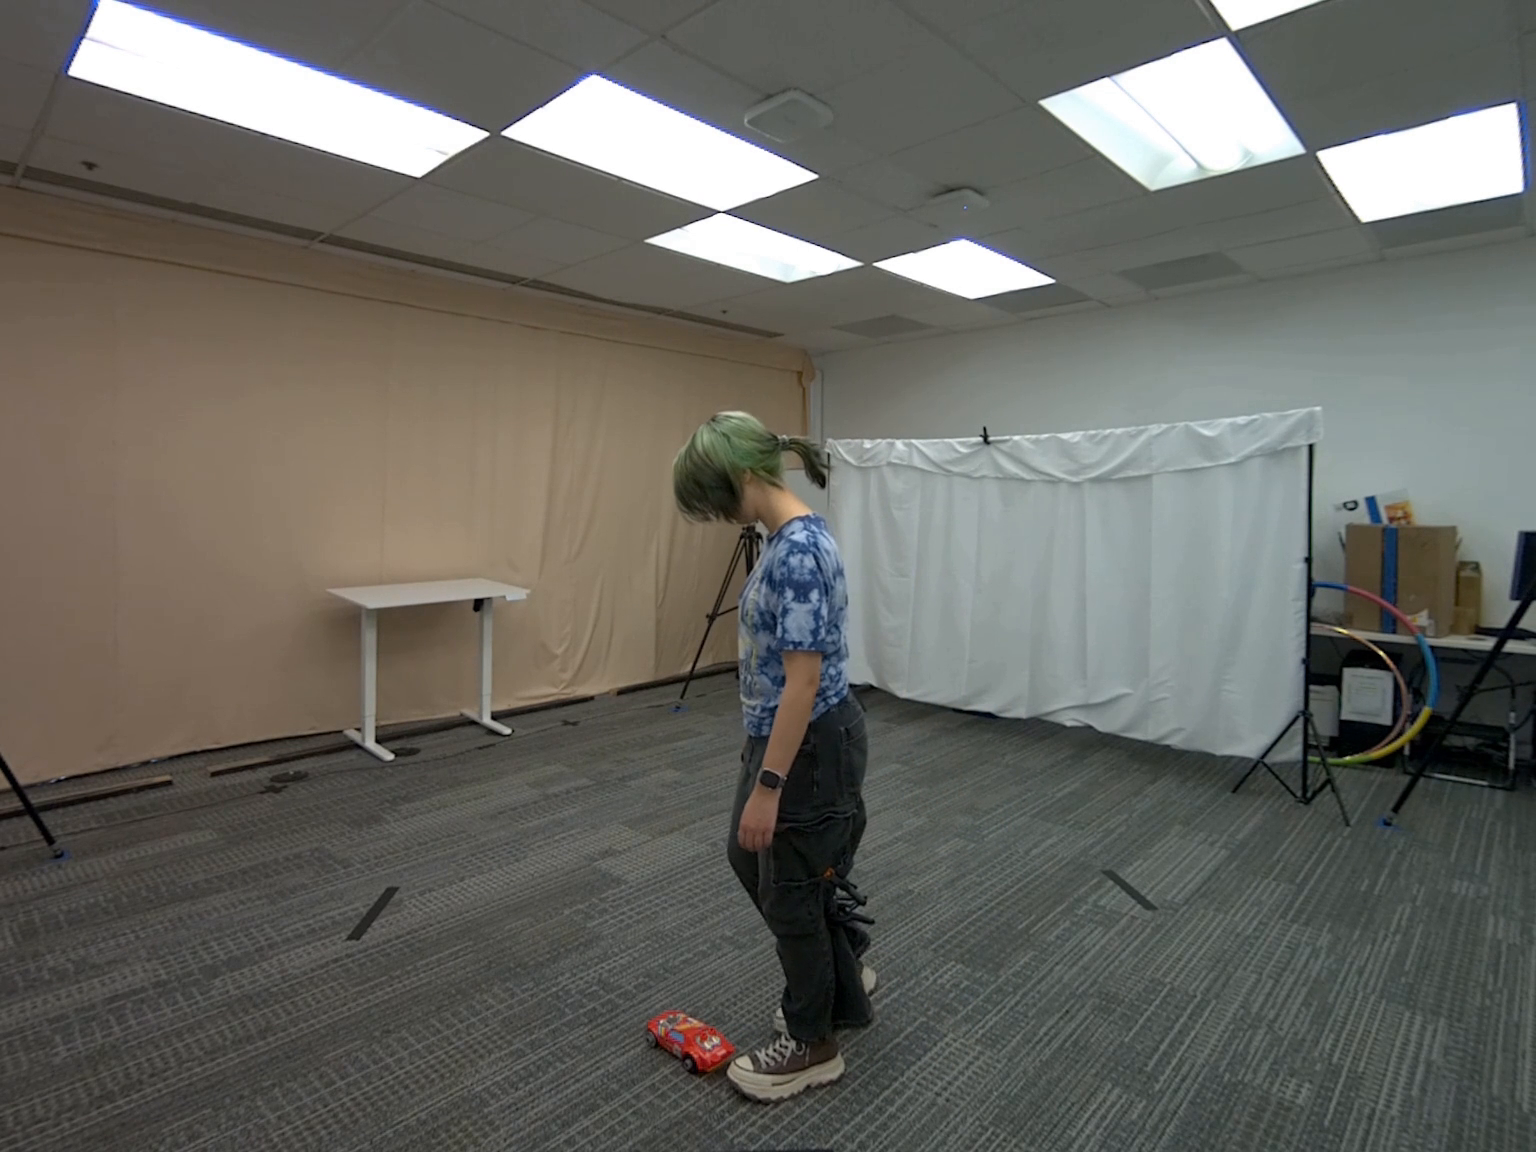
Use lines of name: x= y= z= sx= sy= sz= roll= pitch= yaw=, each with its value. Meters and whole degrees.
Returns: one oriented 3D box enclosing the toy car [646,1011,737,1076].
toy car: x=-0.196 y=1.189 z=2.132 sx=0.126 sy=0.083 sz=0.262 roll=-6 pitch=-3 yaw=-45
